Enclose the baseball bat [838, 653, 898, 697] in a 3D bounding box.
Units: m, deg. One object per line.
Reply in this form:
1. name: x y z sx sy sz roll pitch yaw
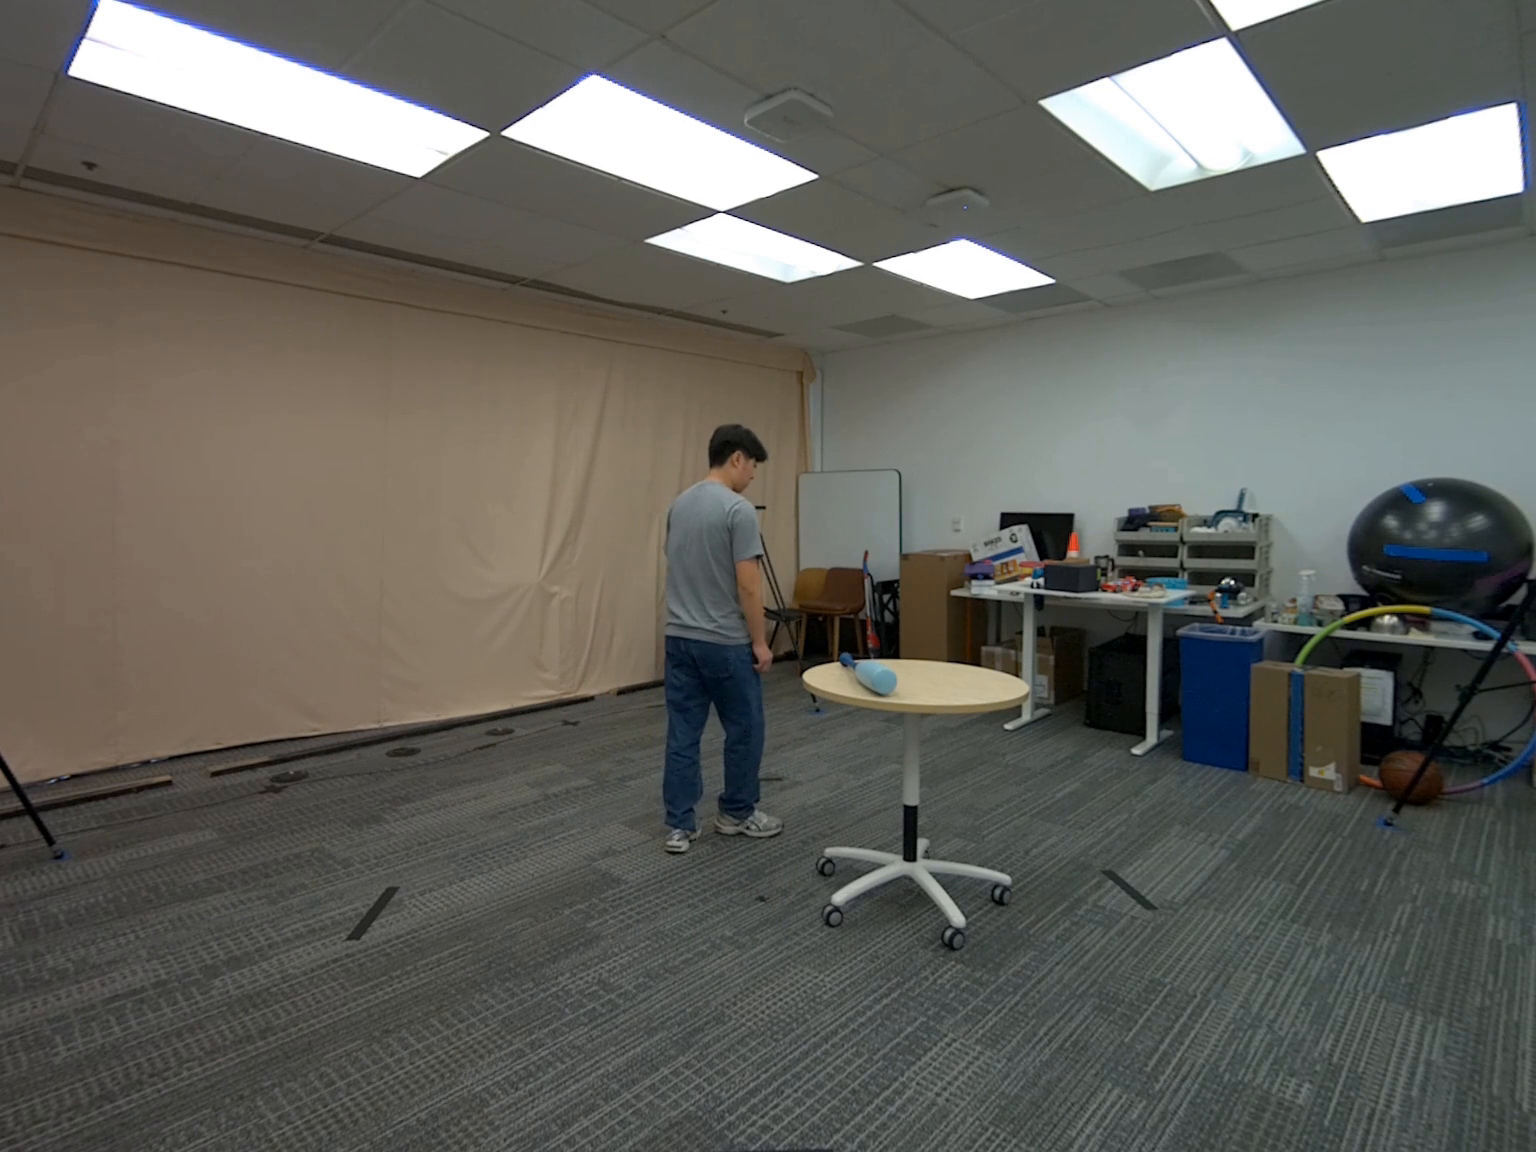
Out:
1. baseball bat: 0.333 0.326 2.913 0.088 0.089 0.548 -1 2 -11
